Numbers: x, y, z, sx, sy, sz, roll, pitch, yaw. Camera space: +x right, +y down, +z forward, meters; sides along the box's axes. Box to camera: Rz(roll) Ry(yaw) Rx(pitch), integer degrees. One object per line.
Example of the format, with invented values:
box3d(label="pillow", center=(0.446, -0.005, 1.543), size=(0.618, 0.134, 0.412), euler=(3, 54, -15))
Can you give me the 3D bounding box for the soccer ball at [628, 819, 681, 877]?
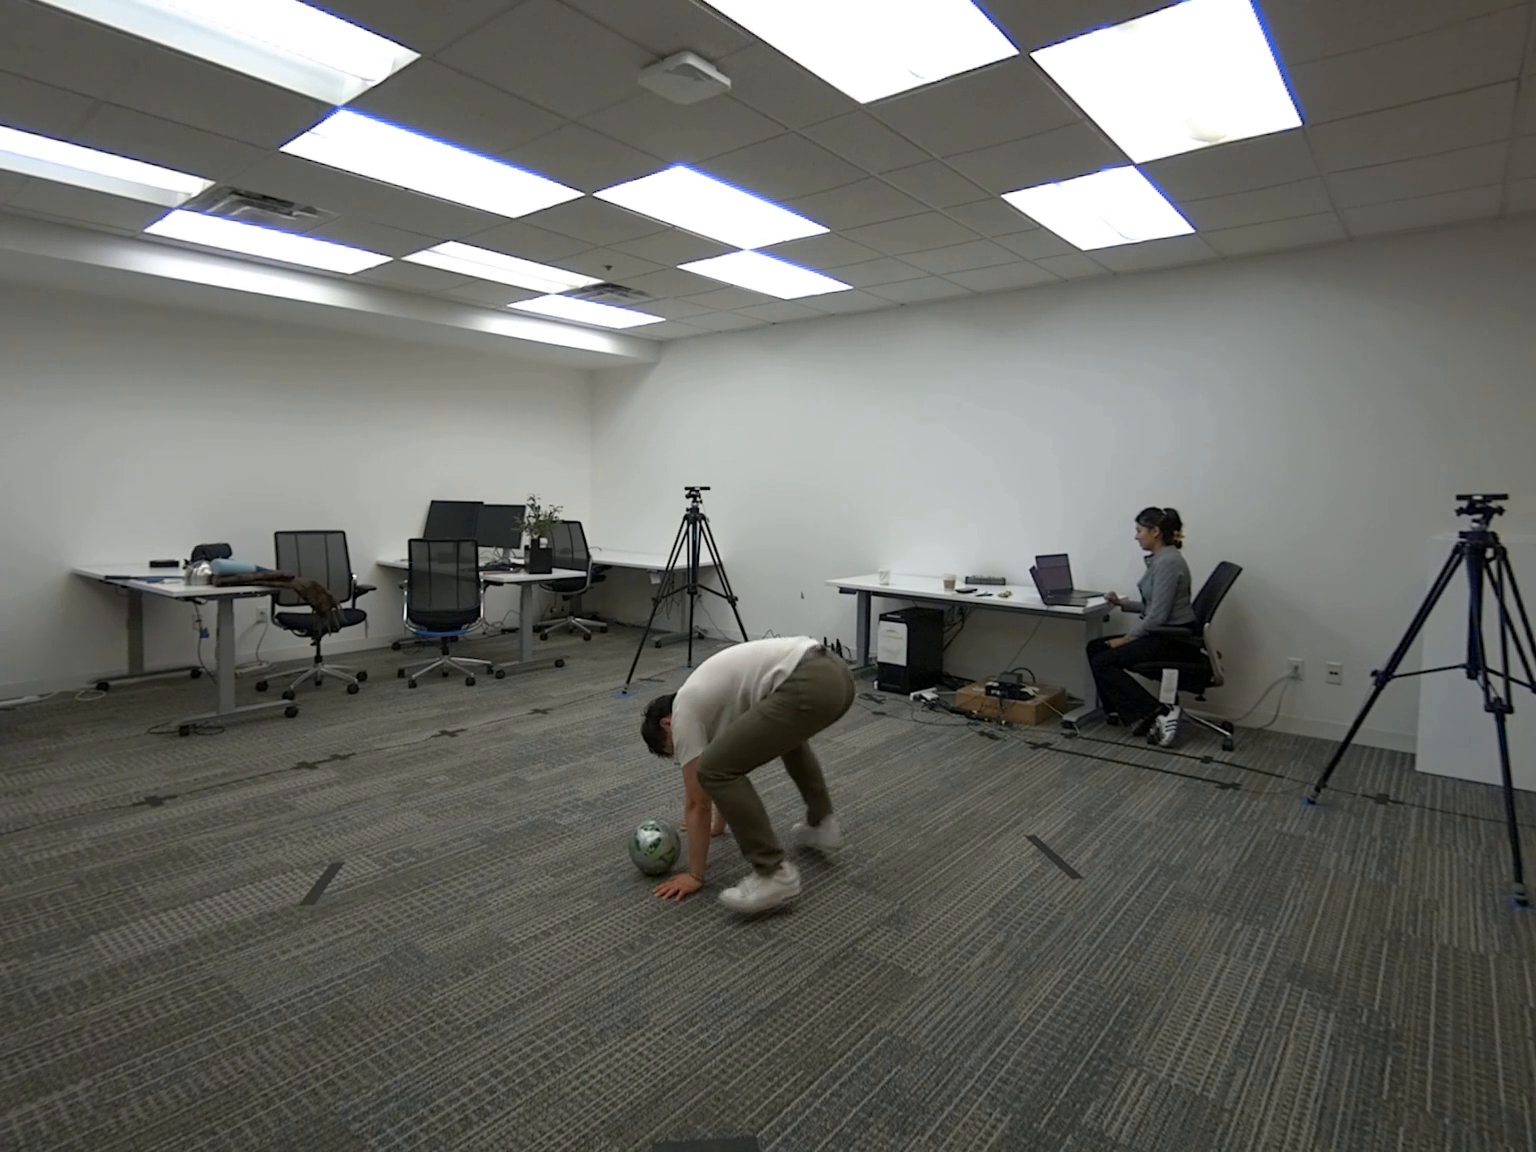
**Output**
box3d(label="soccer ball", center=(-0.419, 0.975, 3.070), size=(0.187, 0.187, 0.188), euler=(1, 4, -2))
